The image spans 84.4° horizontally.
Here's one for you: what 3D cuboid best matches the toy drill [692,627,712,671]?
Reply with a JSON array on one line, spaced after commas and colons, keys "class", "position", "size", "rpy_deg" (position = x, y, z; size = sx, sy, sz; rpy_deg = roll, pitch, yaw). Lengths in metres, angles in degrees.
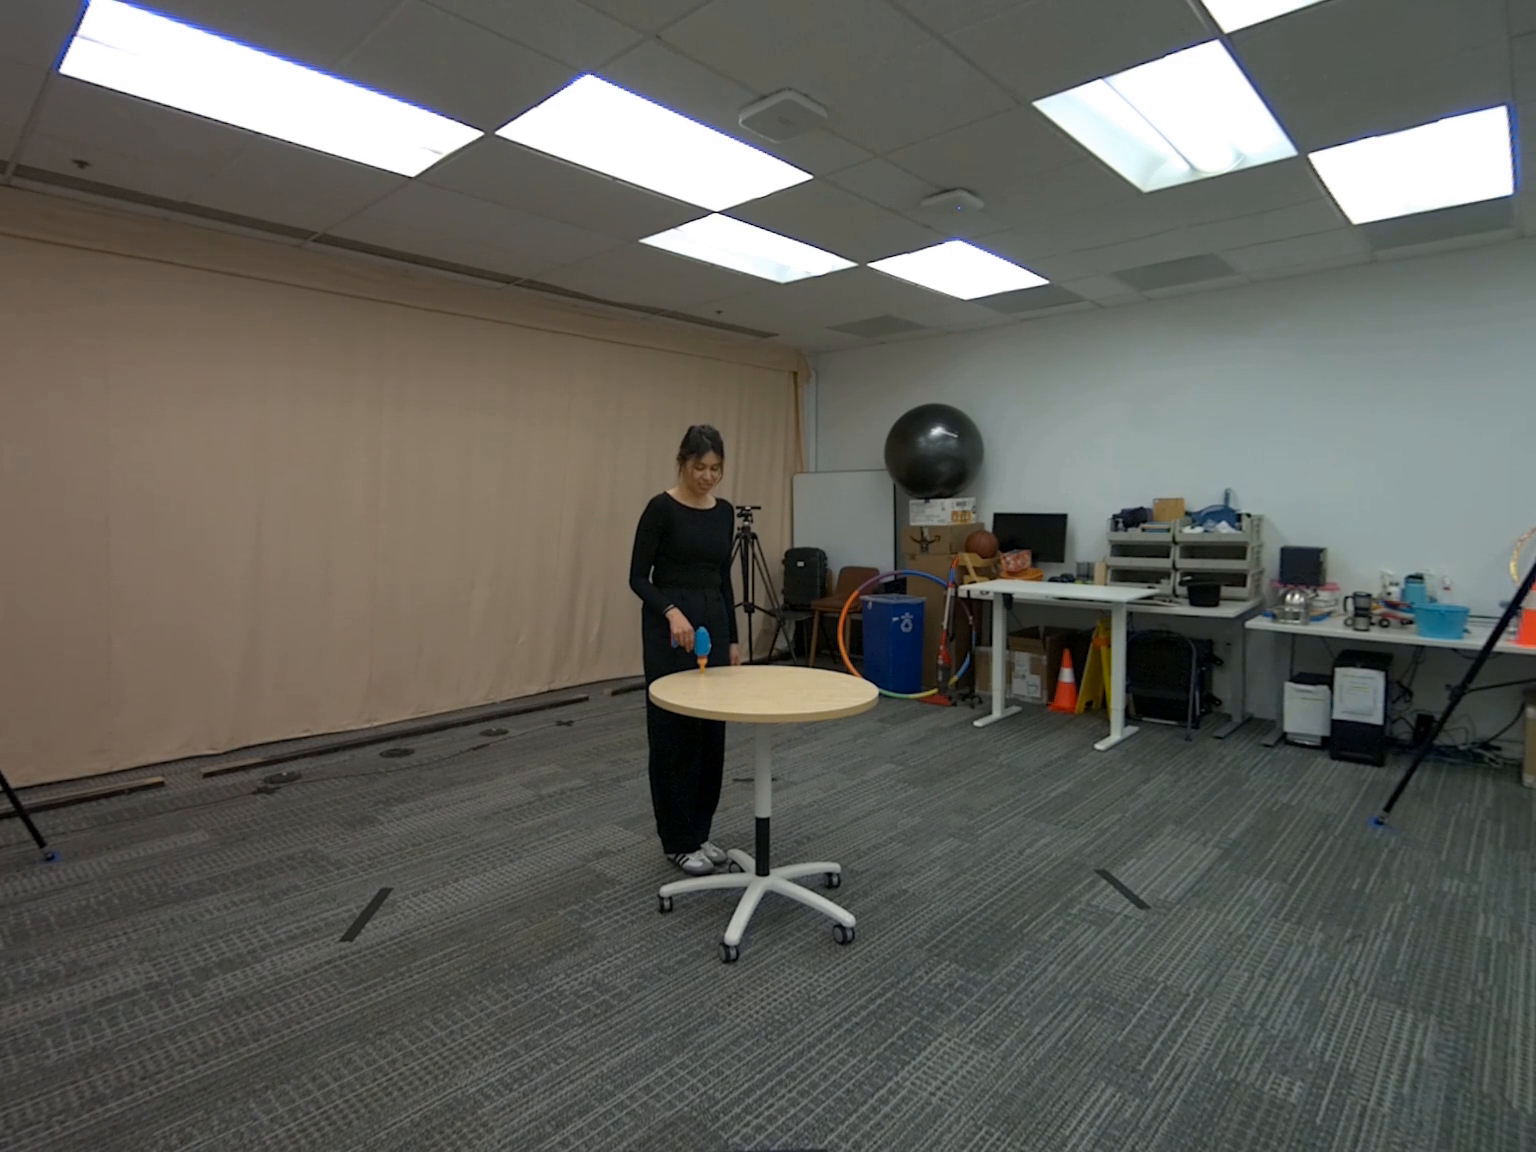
[{"class": "toy drill", "position": [-0.272, 0.266, 3.057], "size": [0.149, 0.169, 0.060], "rpy_deg": [0, 8, 20]}]
